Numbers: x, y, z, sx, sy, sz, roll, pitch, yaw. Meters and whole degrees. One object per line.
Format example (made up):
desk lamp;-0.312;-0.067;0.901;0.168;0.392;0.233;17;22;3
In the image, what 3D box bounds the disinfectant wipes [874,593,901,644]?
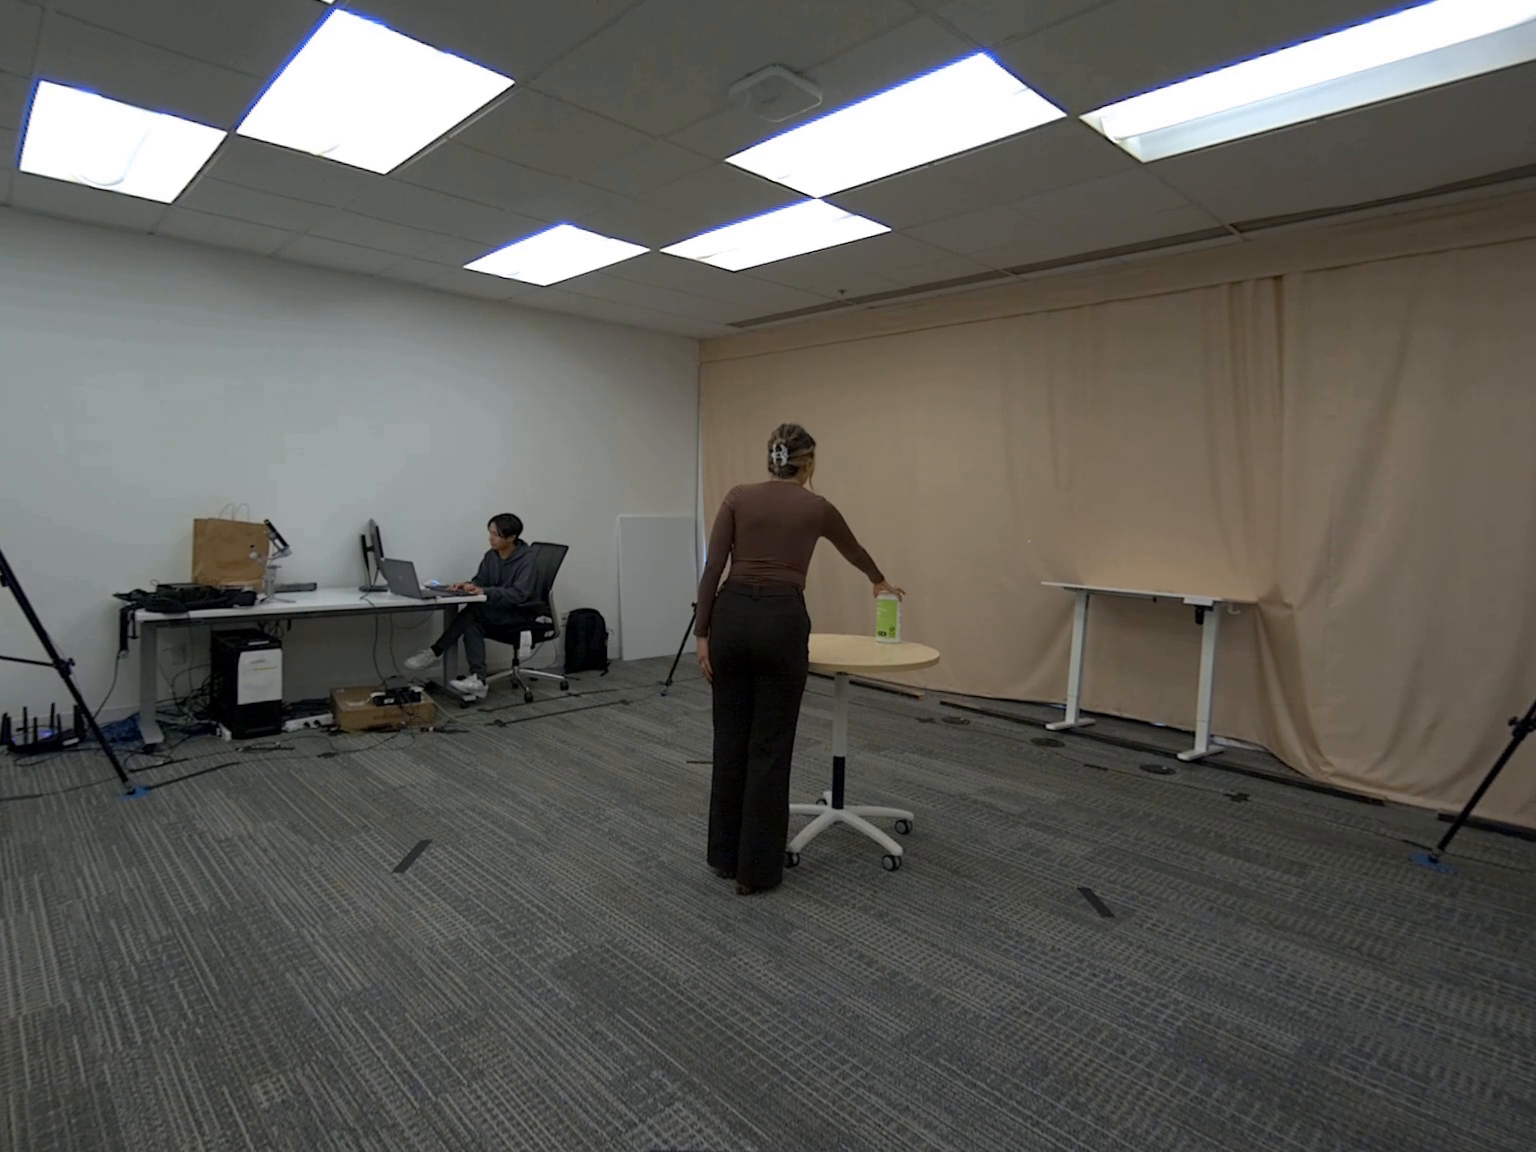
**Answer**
disinfectant wipes;0.516;0.178;3.629;0.118;0.217;0.118;0;3;-1
